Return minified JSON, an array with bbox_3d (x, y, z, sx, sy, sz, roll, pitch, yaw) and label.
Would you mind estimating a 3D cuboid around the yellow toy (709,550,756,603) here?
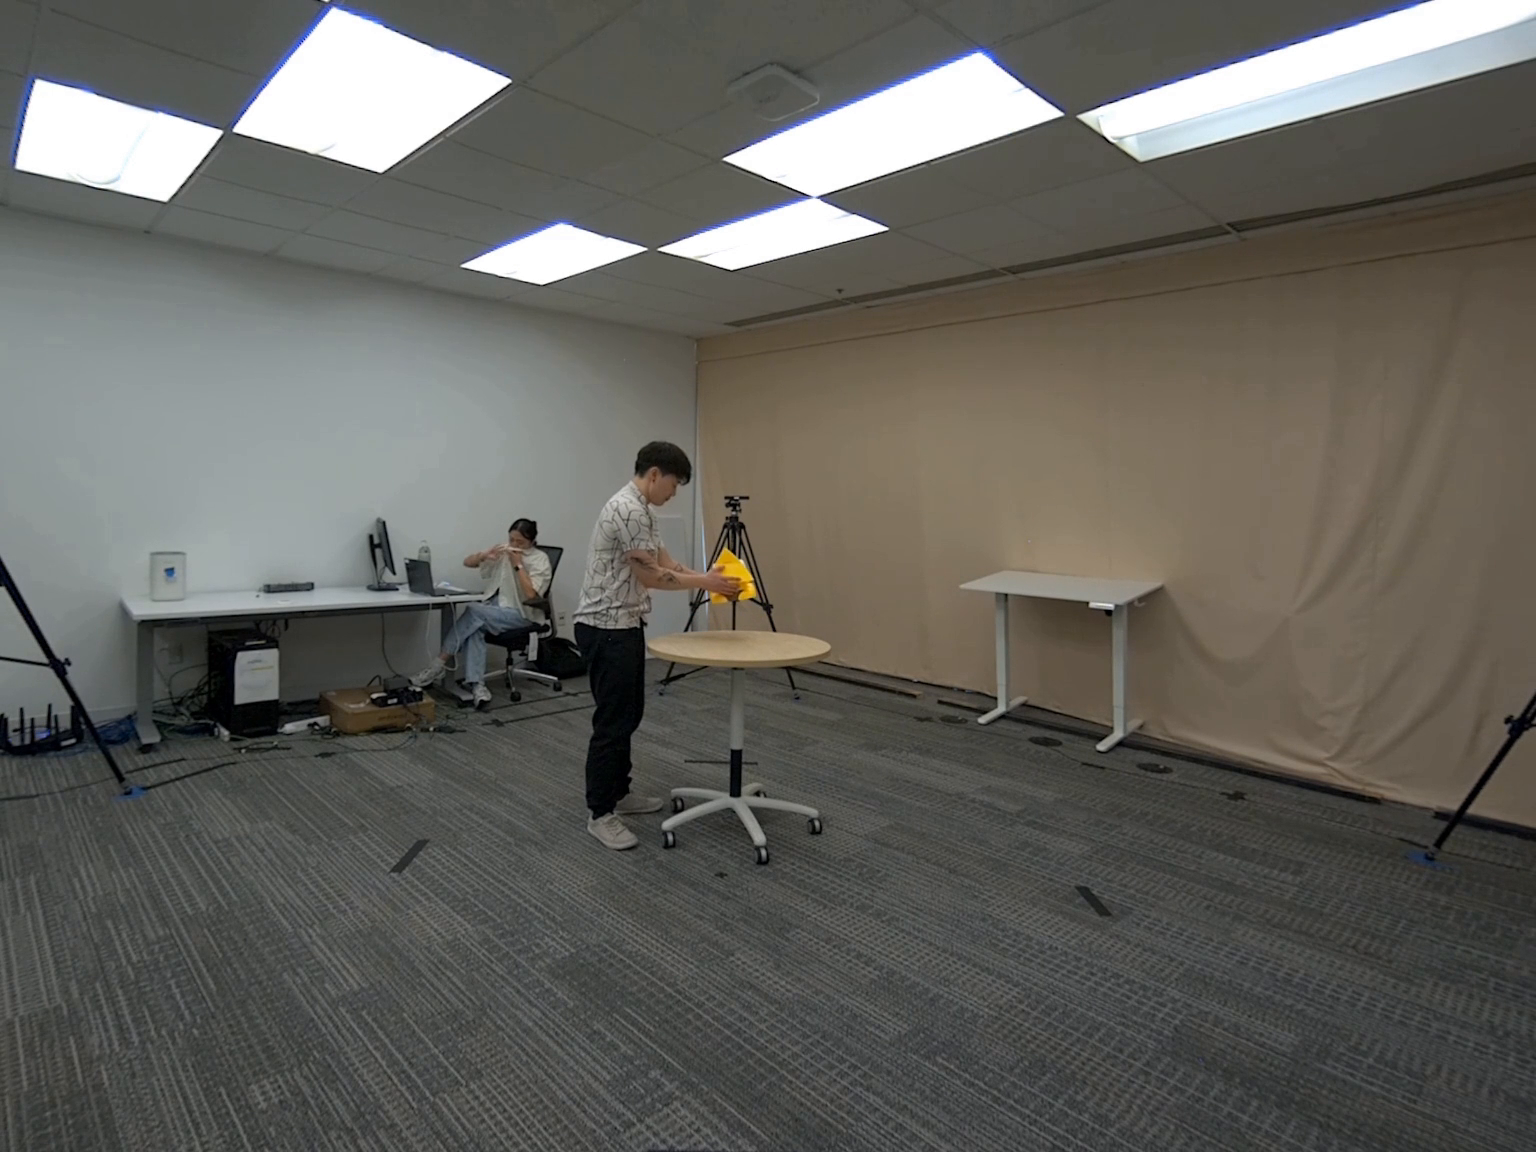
[{"bbox_3d":[-0.179,-0.013,3.664,0.205,0.230,0.194,-8,5,0],"label":"yellow toy"}]
